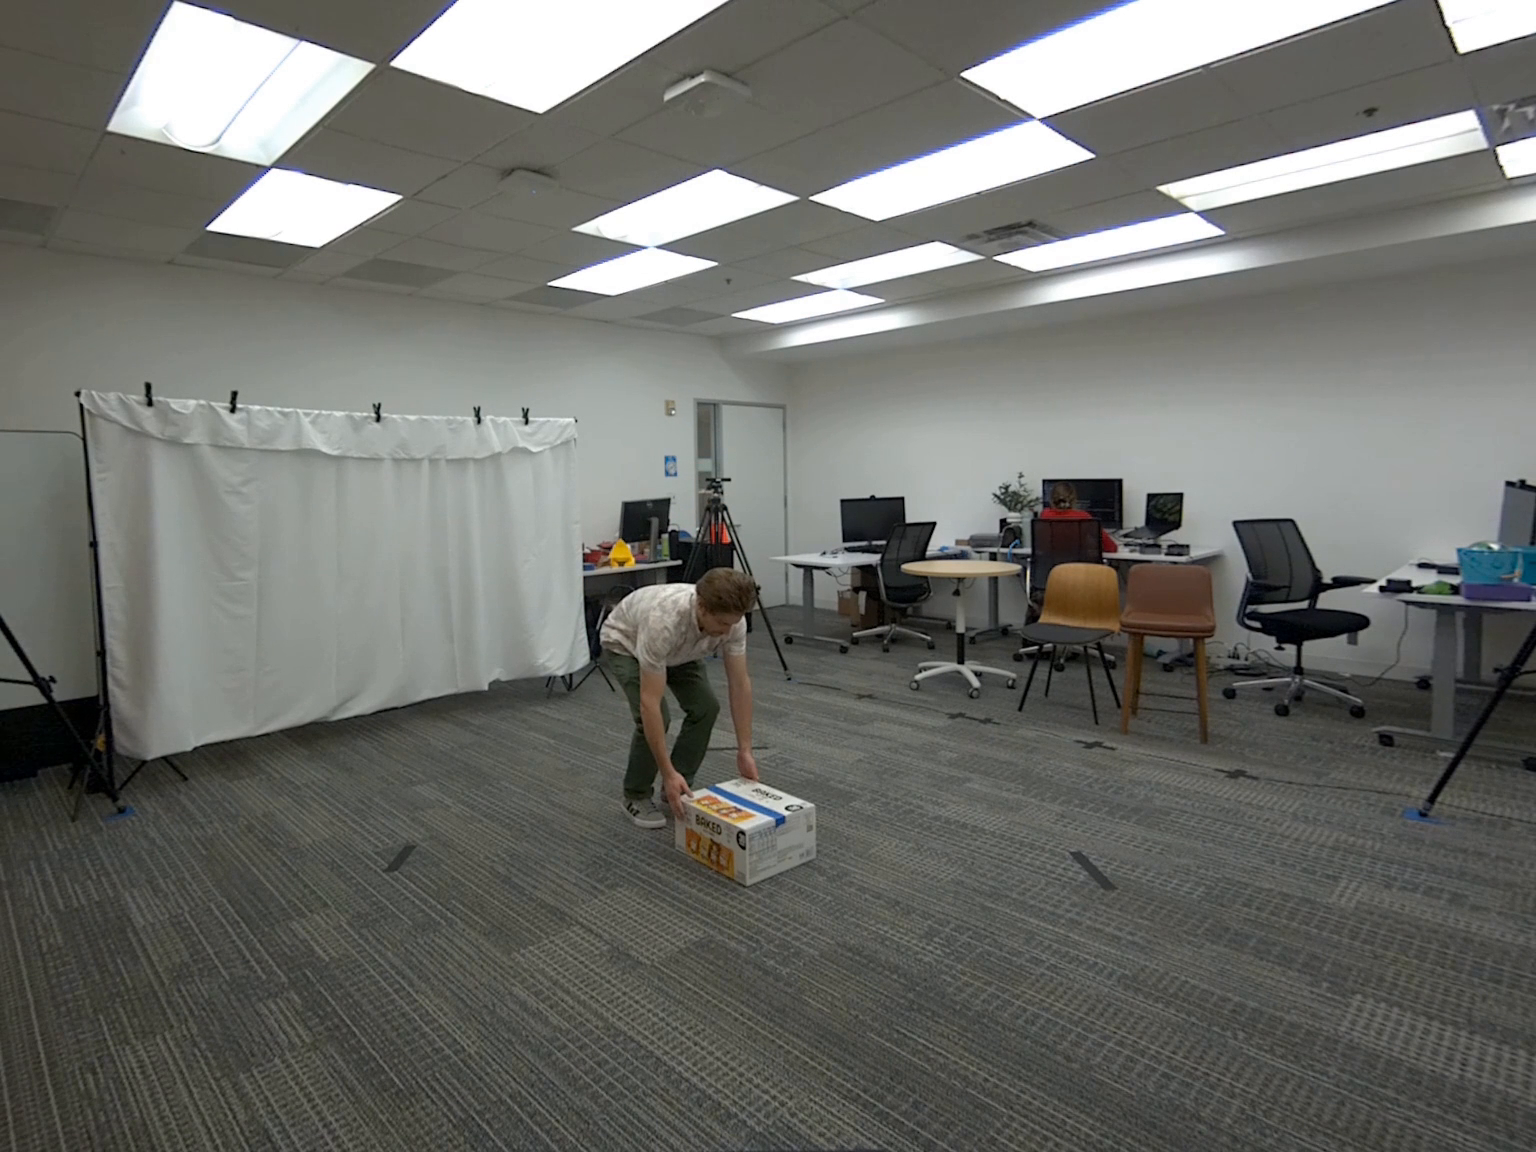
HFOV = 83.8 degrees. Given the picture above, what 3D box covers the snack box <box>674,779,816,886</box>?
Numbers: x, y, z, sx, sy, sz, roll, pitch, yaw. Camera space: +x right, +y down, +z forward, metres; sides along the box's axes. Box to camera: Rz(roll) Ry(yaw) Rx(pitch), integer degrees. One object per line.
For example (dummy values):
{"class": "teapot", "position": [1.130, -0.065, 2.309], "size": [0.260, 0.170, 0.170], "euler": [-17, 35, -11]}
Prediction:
{"class": "snack box", "position": [-0.083, 0.936, 3.164], "size": [0.331, 0.205, 0.418], "euler": [-6, 8, -41]}
